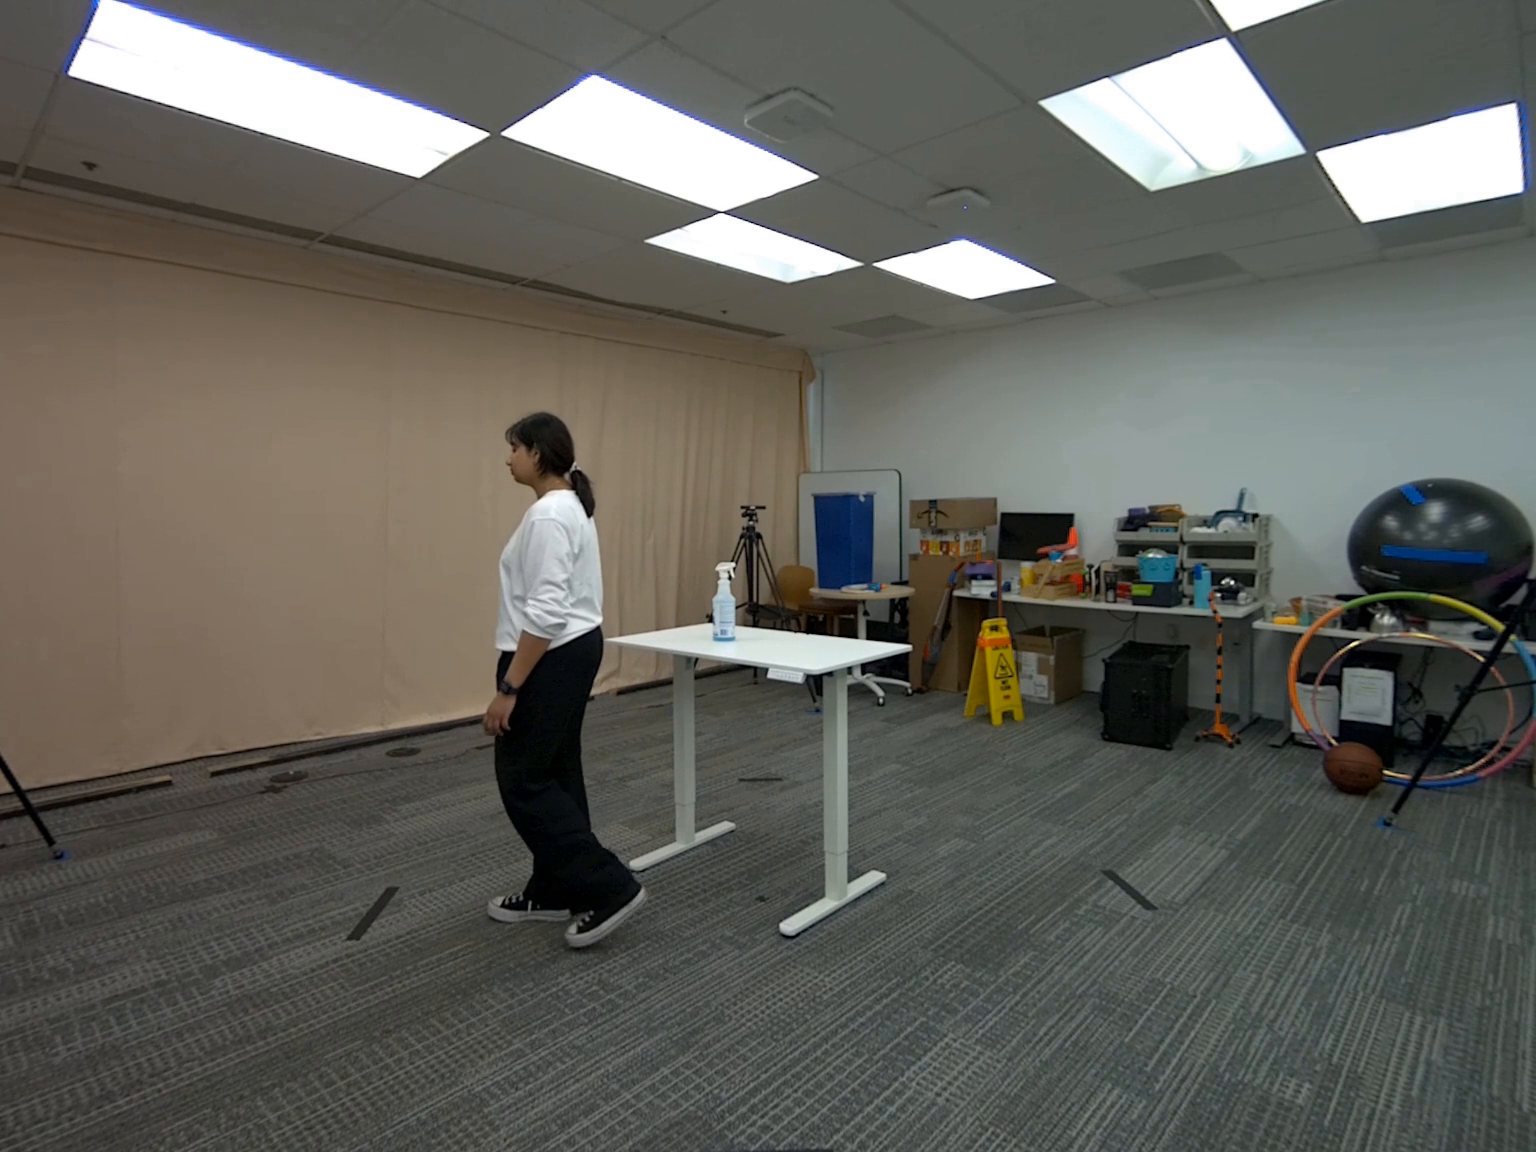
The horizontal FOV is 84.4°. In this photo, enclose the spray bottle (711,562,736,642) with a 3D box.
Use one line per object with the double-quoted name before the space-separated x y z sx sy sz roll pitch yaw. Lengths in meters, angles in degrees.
"spray bottle" -0.163 0.098 3.207 0.085 0.296 0.092 -1 4 -26
